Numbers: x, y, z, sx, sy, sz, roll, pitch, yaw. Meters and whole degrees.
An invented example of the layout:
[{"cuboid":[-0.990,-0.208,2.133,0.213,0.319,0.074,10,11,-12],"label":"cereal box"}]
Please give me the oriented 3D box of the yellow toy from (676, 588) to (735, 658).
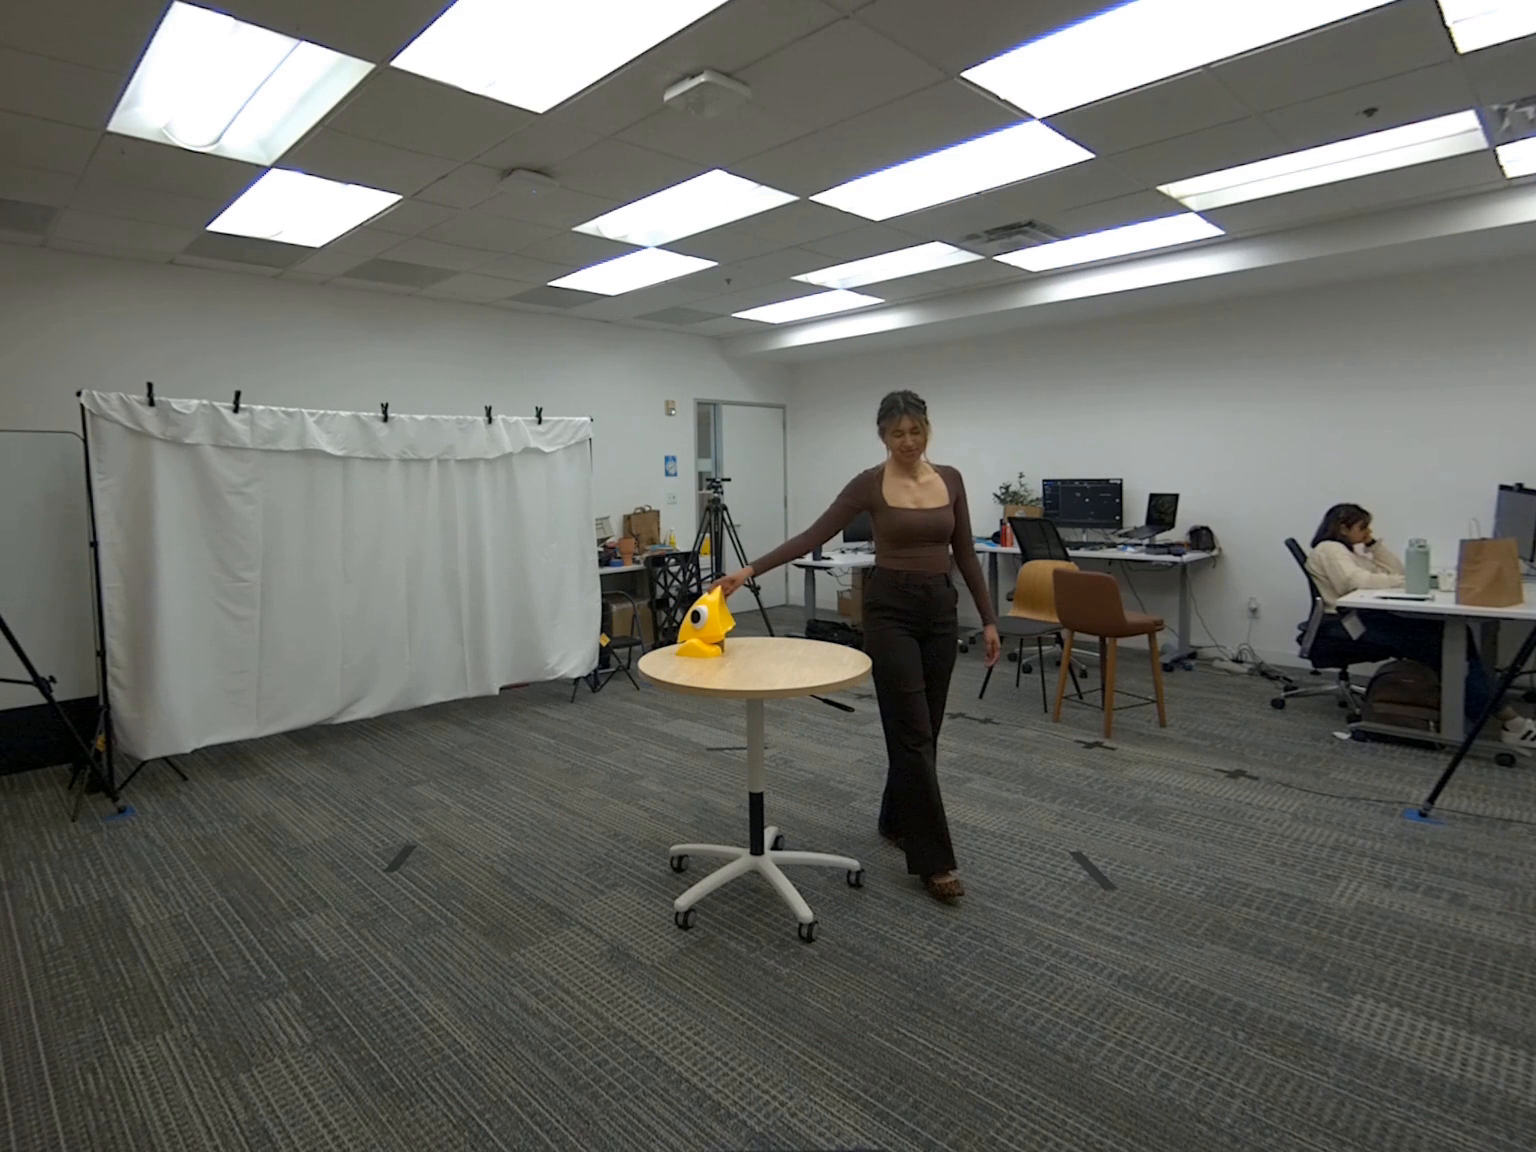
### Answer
[{"cuboid":[-0.221,0.147,2.965,0.195,0.230,0.203,2,5,12],"label":"yellow toy"}]
